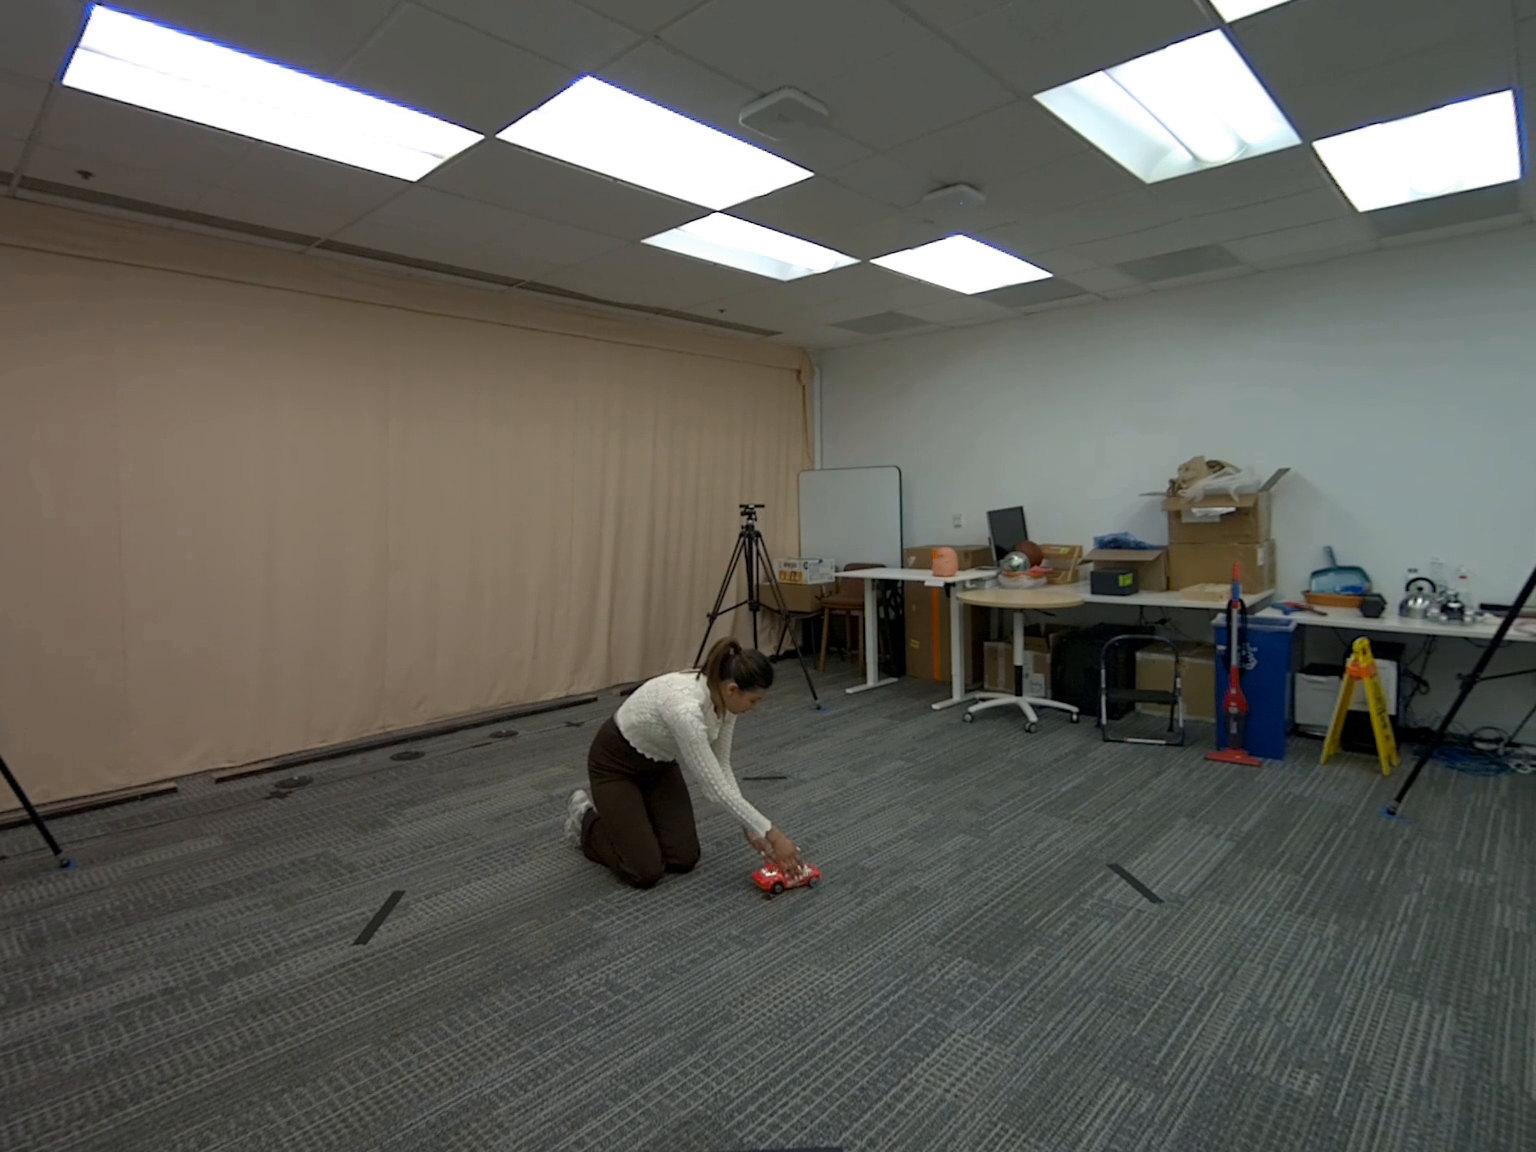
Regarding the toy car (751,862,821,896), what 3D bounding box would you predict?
[{"bbox_3d":[0.059,1.098,3.070,0.249,0.083,0.133,8,0,-20],"label":"toy car"}]
